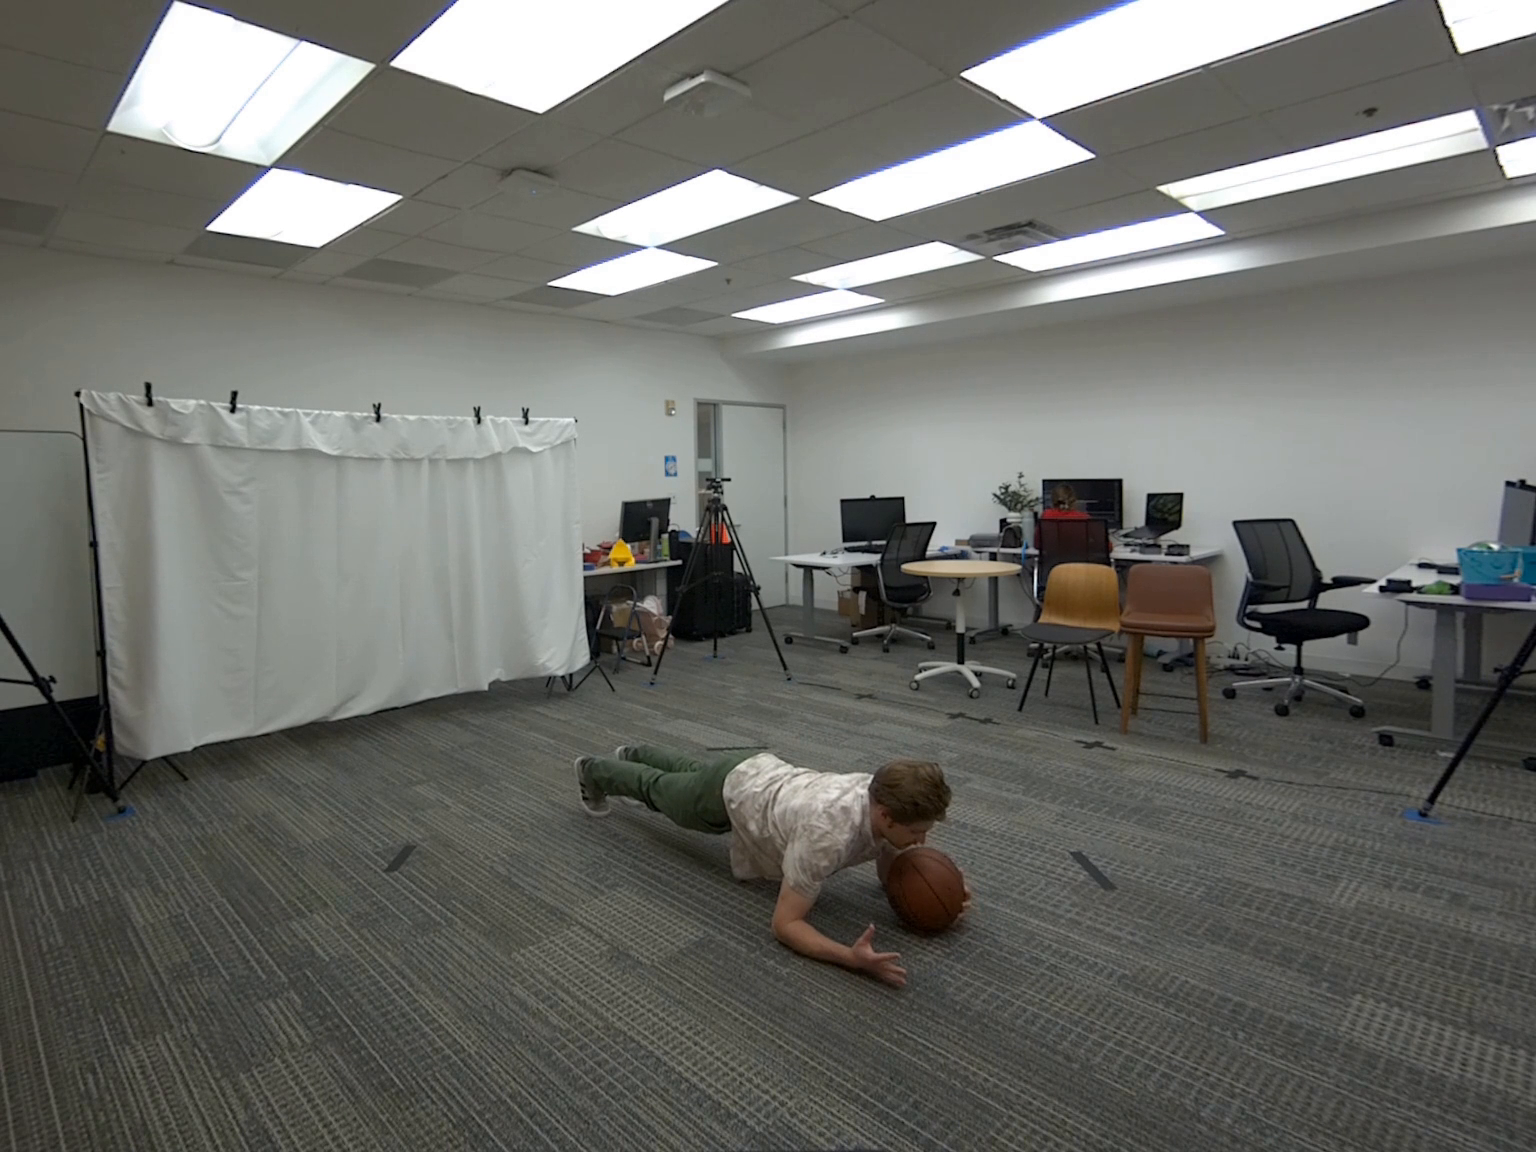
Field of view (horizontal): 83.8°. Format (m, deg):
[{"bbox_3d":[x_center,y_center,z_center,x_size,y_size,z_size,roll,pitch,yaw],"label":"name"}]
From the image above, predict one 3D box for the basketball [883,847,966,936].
[{"bbox_3d":[0.482,0.963,2.643,0.236,0.235,0.237,-1,5,-2],"label":"basketball"}]
